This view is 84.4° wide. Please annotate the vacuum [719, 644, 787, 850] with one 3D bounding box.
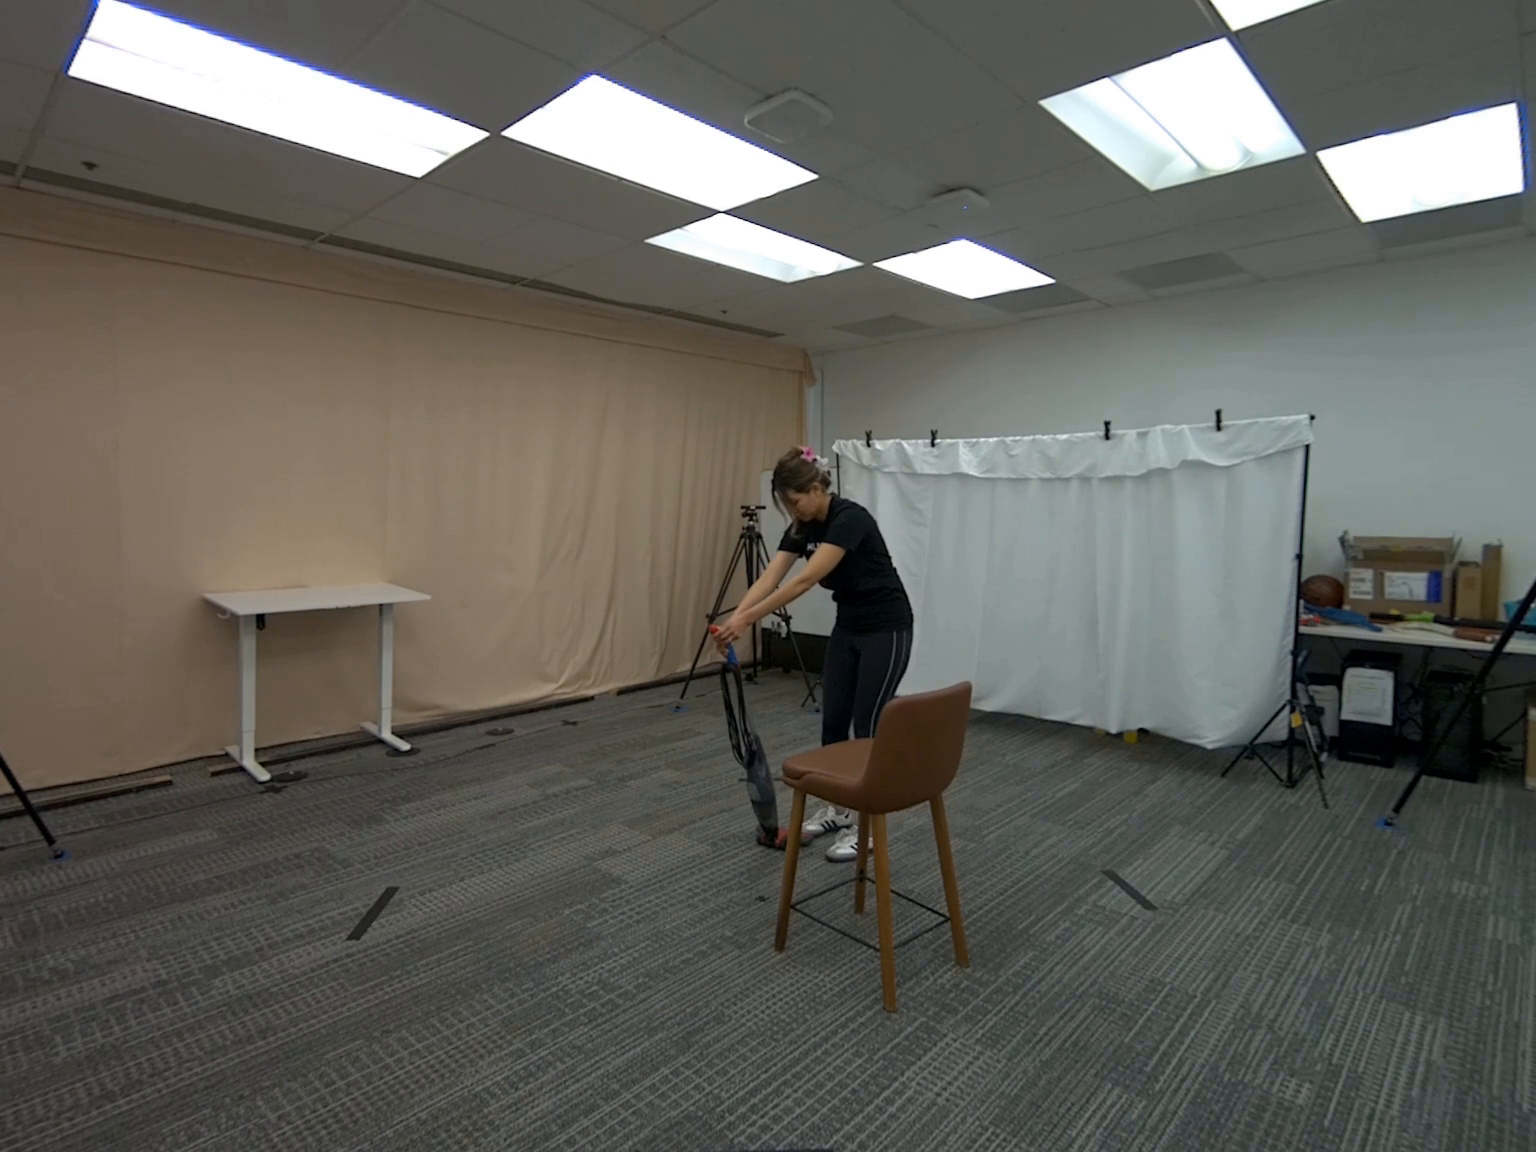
[{"bbox_3d":[-0.074,0.646,3.269,0.261,1.028,0.142,6,32,39],"label":"vacuum"}]
